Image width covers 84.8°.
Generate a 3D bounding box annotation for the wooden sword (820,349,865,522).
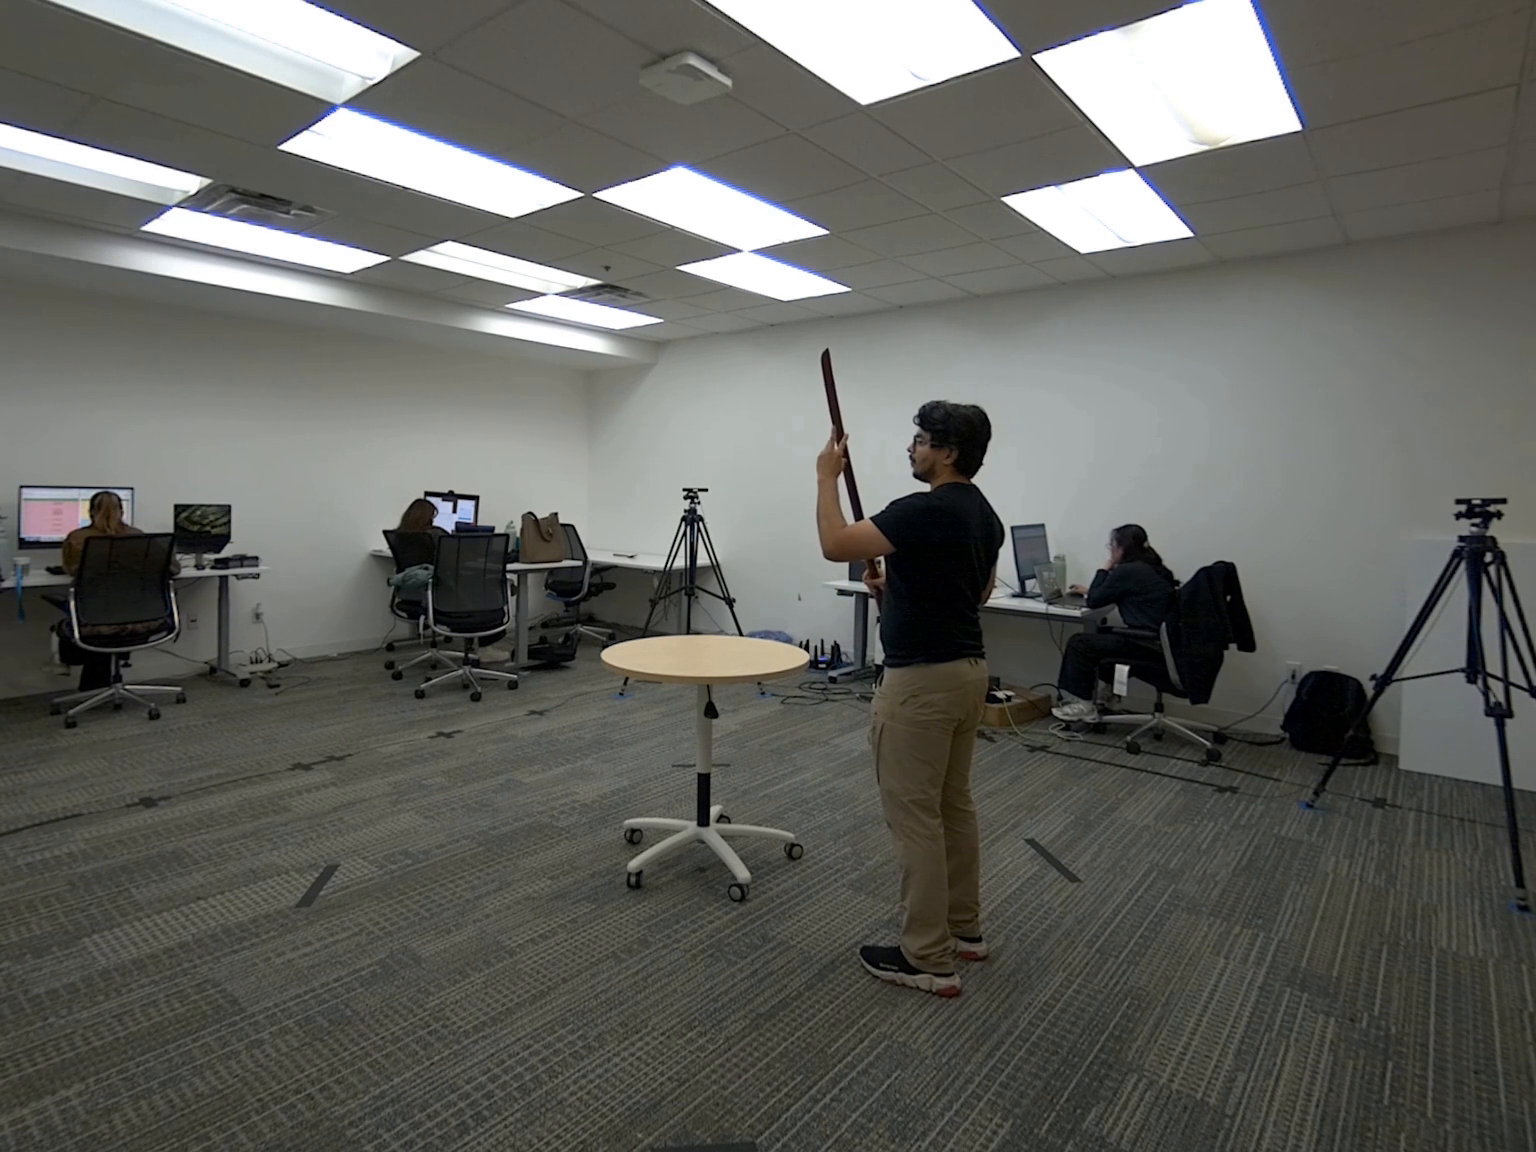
[{"bbox_3d":[0.274,-0.227,2.721,0.024,0.998,0.053,-21,24,-17],"label":"wooden sword"}]
